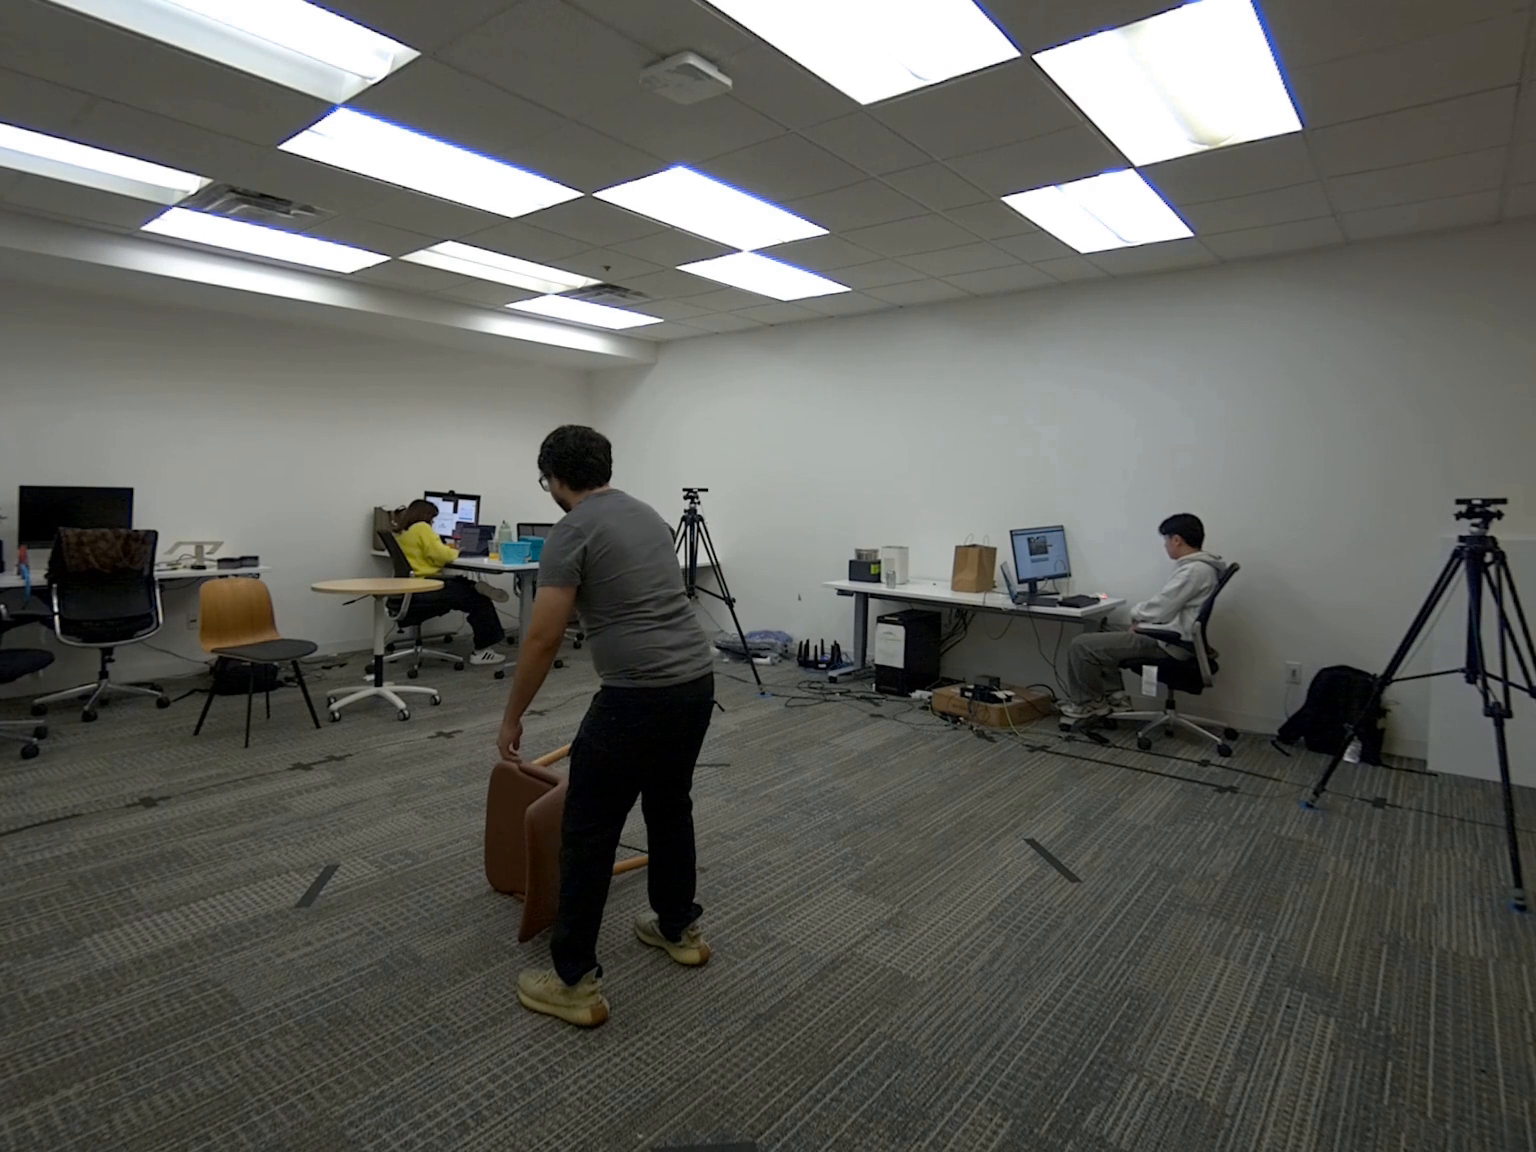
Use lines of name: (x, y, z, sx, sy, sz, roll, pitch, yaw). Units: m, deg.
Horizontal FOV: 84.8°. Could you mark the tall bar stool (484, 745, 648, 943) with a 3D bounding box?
tall bar stool: (-0.716, 0.864, 2.967, 0.481, 0.455, 0.867, 6, 5, 27)
